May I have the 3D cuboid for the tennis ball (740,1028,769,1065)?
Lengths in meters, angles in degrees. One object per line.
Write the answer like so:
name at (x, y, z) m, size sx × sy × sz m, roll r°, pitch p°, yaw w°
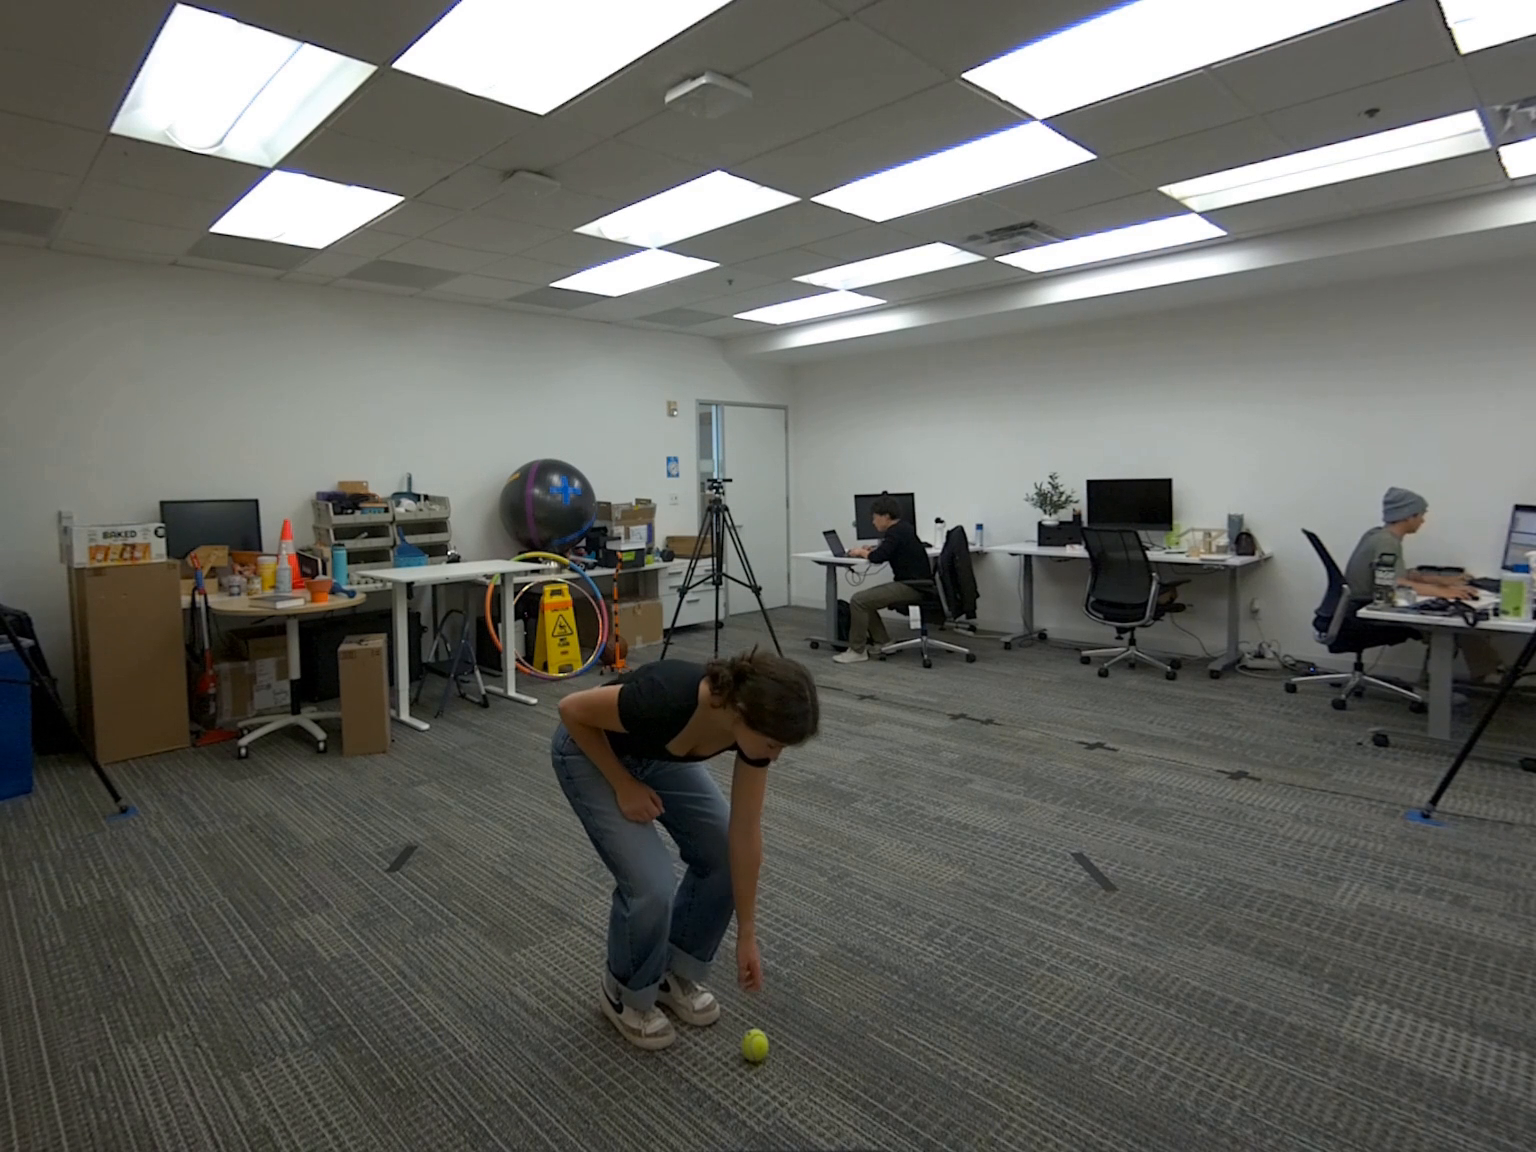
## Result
tennis ball at (-0.045, 1.122, 2.064) m, size 0.066 × 0.066 × 0.067 m, roll -1°, pitch 5°, yaw -2°
